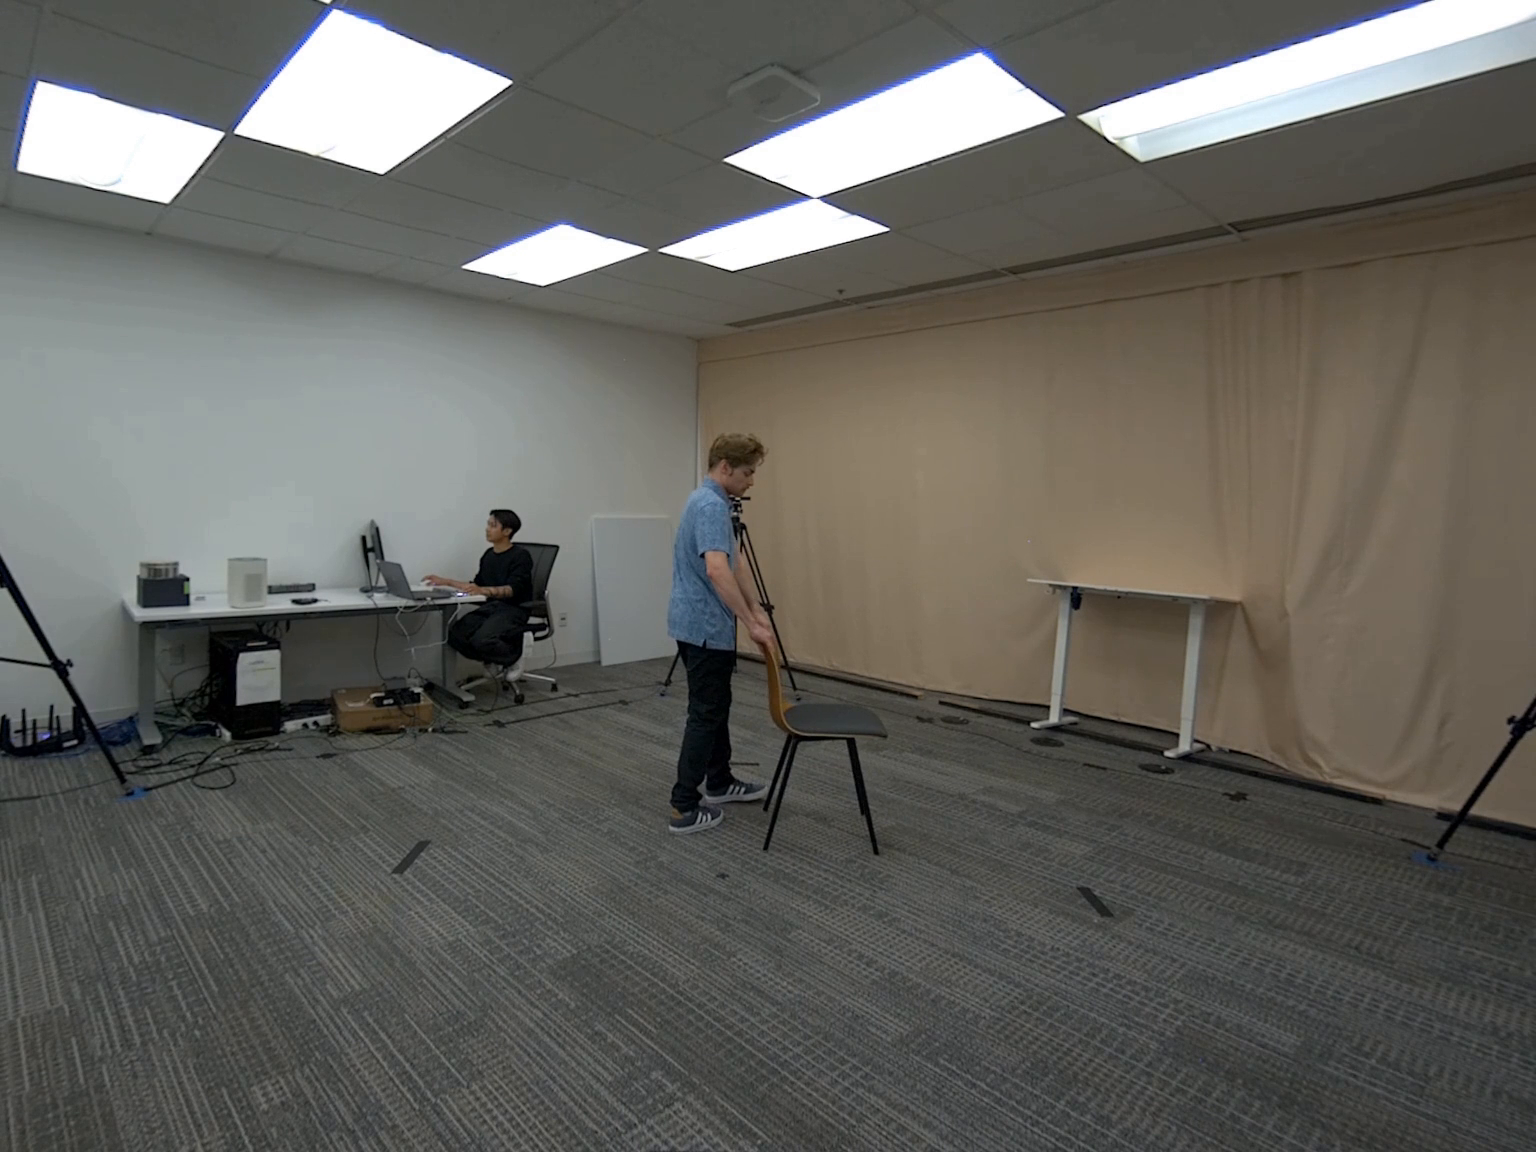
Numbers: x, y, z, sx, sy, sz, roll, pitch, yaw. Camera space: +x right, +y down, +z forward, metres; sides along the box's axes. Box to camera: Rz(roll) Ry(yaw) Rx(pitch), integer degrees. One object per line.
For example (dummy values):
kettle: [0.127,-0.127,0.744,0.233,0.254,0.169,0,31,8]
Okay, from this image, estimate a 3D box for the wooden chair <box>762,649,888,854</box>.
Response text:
wooden chair: [0.222,0.652,3.520,0.524,0.876,0.478,-3,2,1]
